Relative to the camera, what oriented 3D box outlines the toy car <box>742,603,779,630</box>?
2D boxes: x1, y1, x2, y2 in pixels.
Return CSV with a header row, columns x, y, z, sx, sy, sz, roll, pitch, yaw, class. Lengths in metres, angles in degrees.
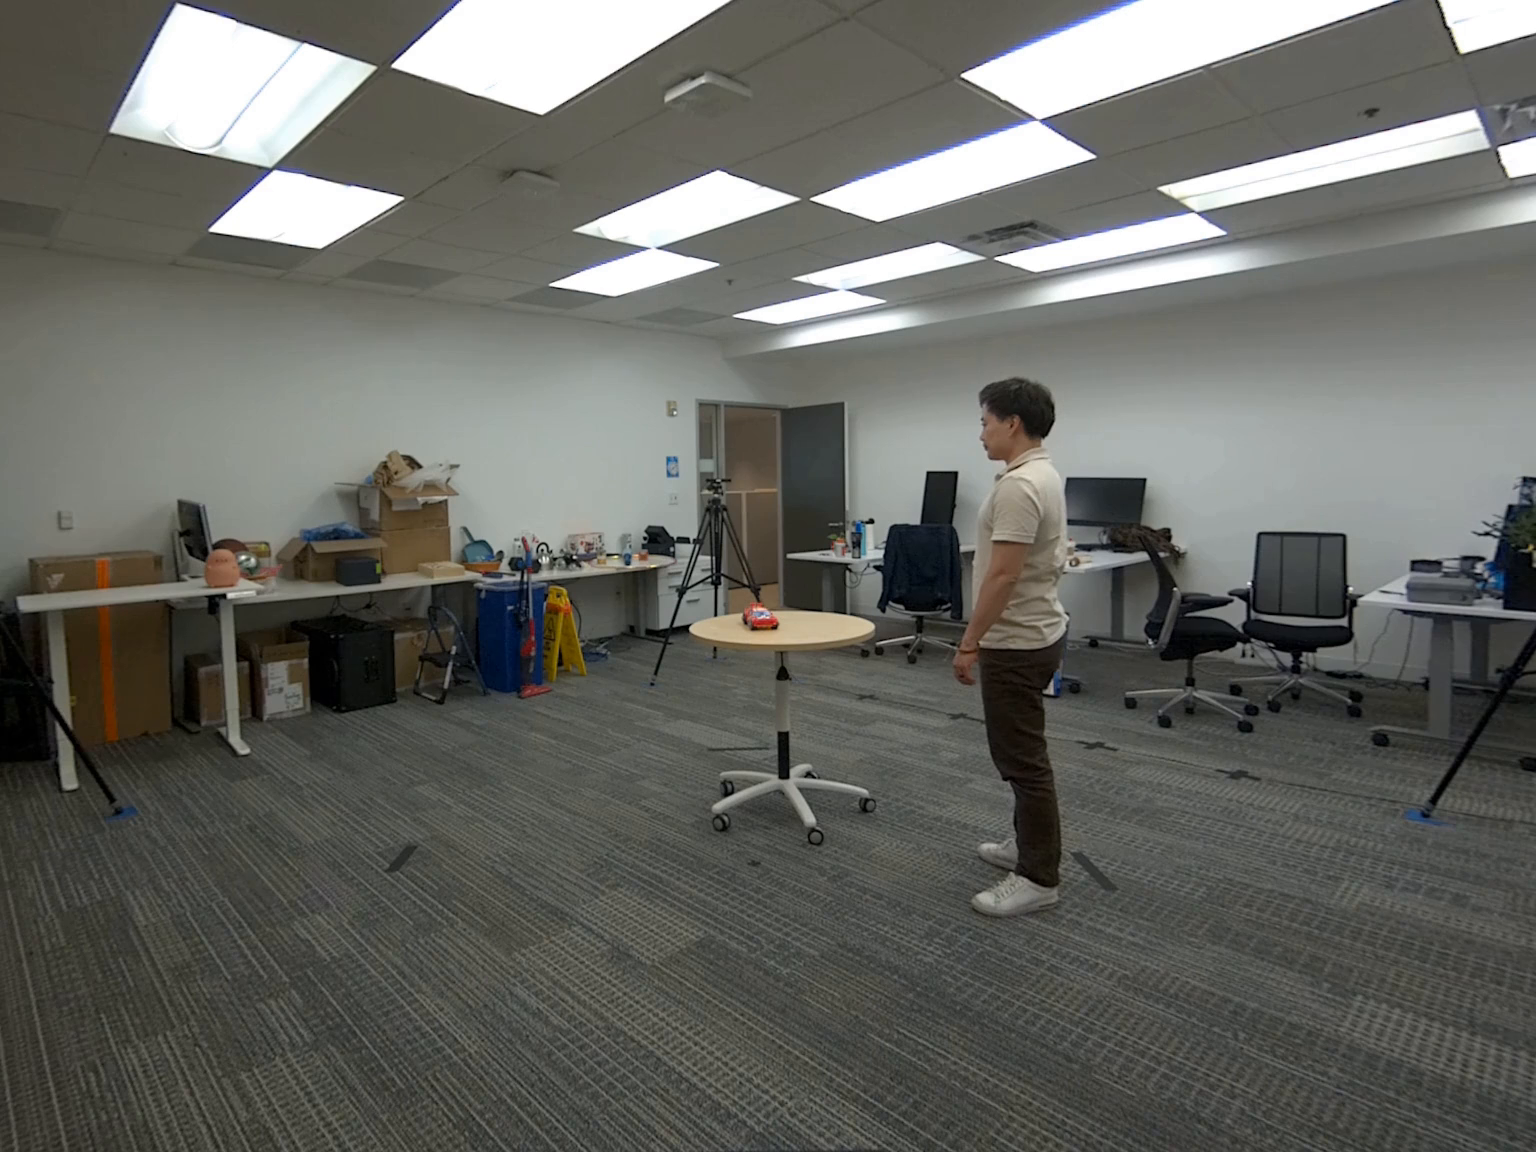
x,y,z,sx,sy,sz,roll,pitch,yaw,class
-0.037,0.173,3.575,0.129,0.082,0.261,-3,18,-11,toy car
